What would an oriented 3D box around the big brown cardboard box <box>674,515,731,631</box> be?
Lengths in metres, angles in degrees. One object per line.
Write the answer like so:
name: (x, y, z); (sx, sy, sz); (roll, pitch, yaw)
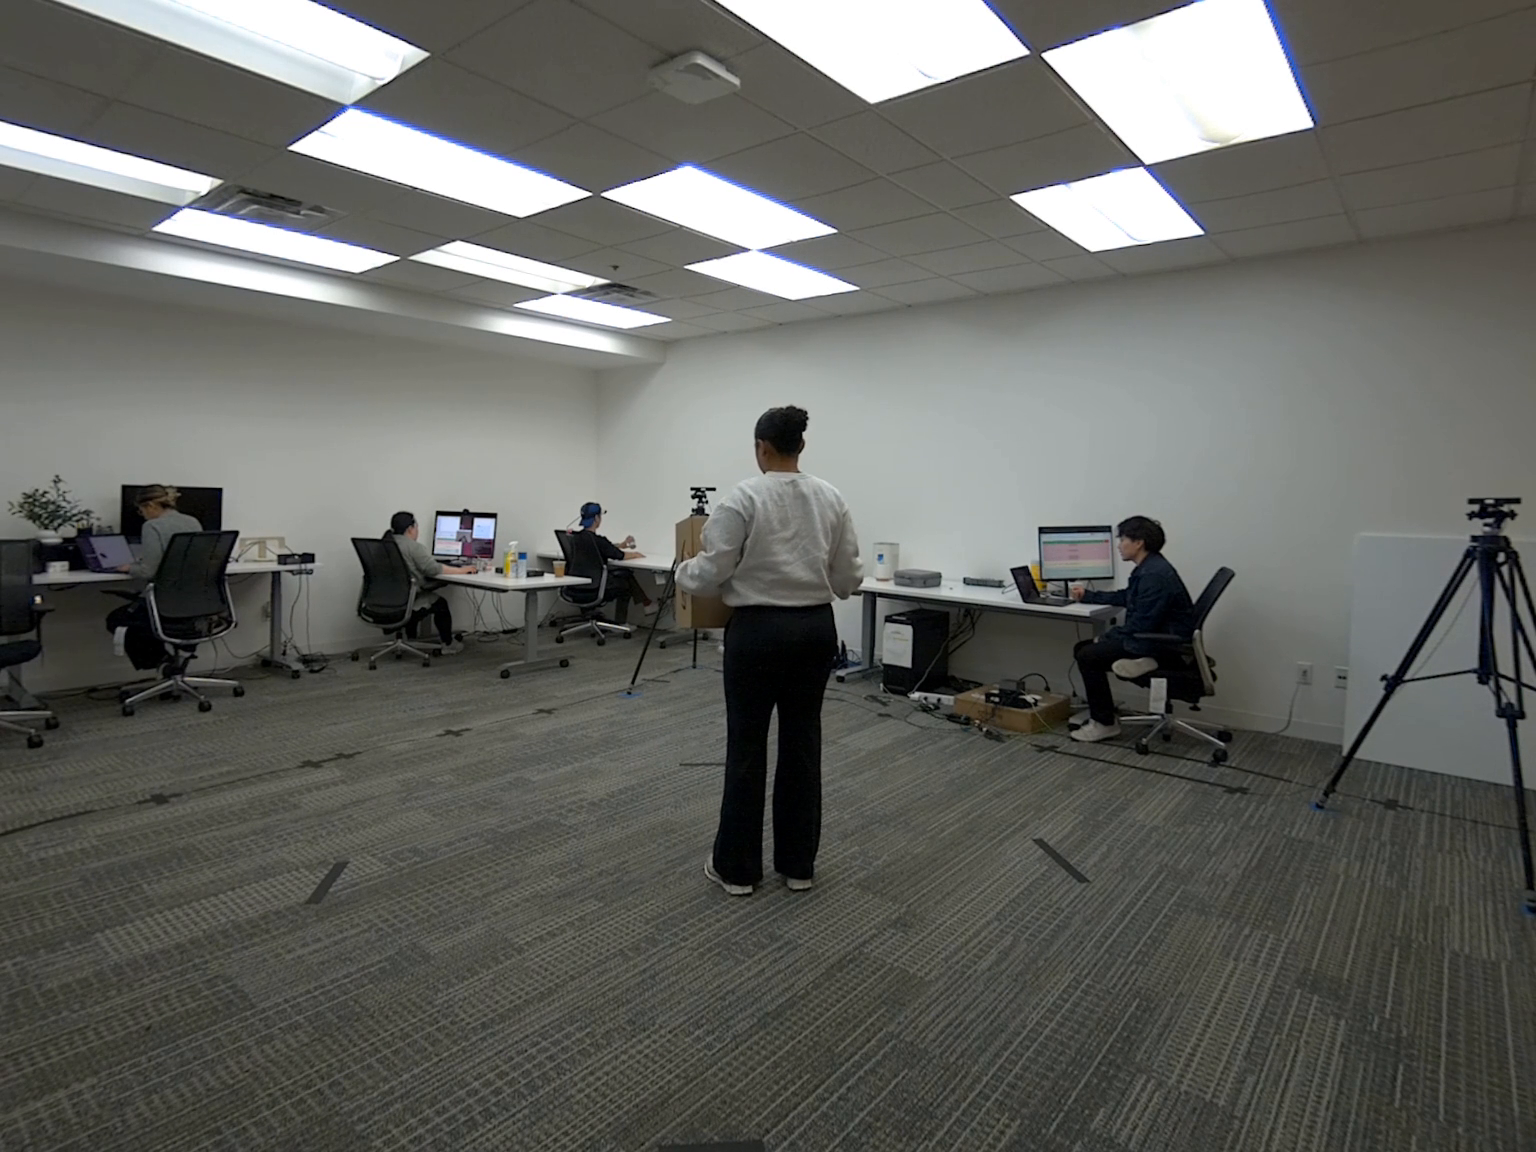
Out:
big brown cardboard box: (-0.070, -0.012, 3.307); (0.578, 0.421, 0.236); (0, -7, -19)
